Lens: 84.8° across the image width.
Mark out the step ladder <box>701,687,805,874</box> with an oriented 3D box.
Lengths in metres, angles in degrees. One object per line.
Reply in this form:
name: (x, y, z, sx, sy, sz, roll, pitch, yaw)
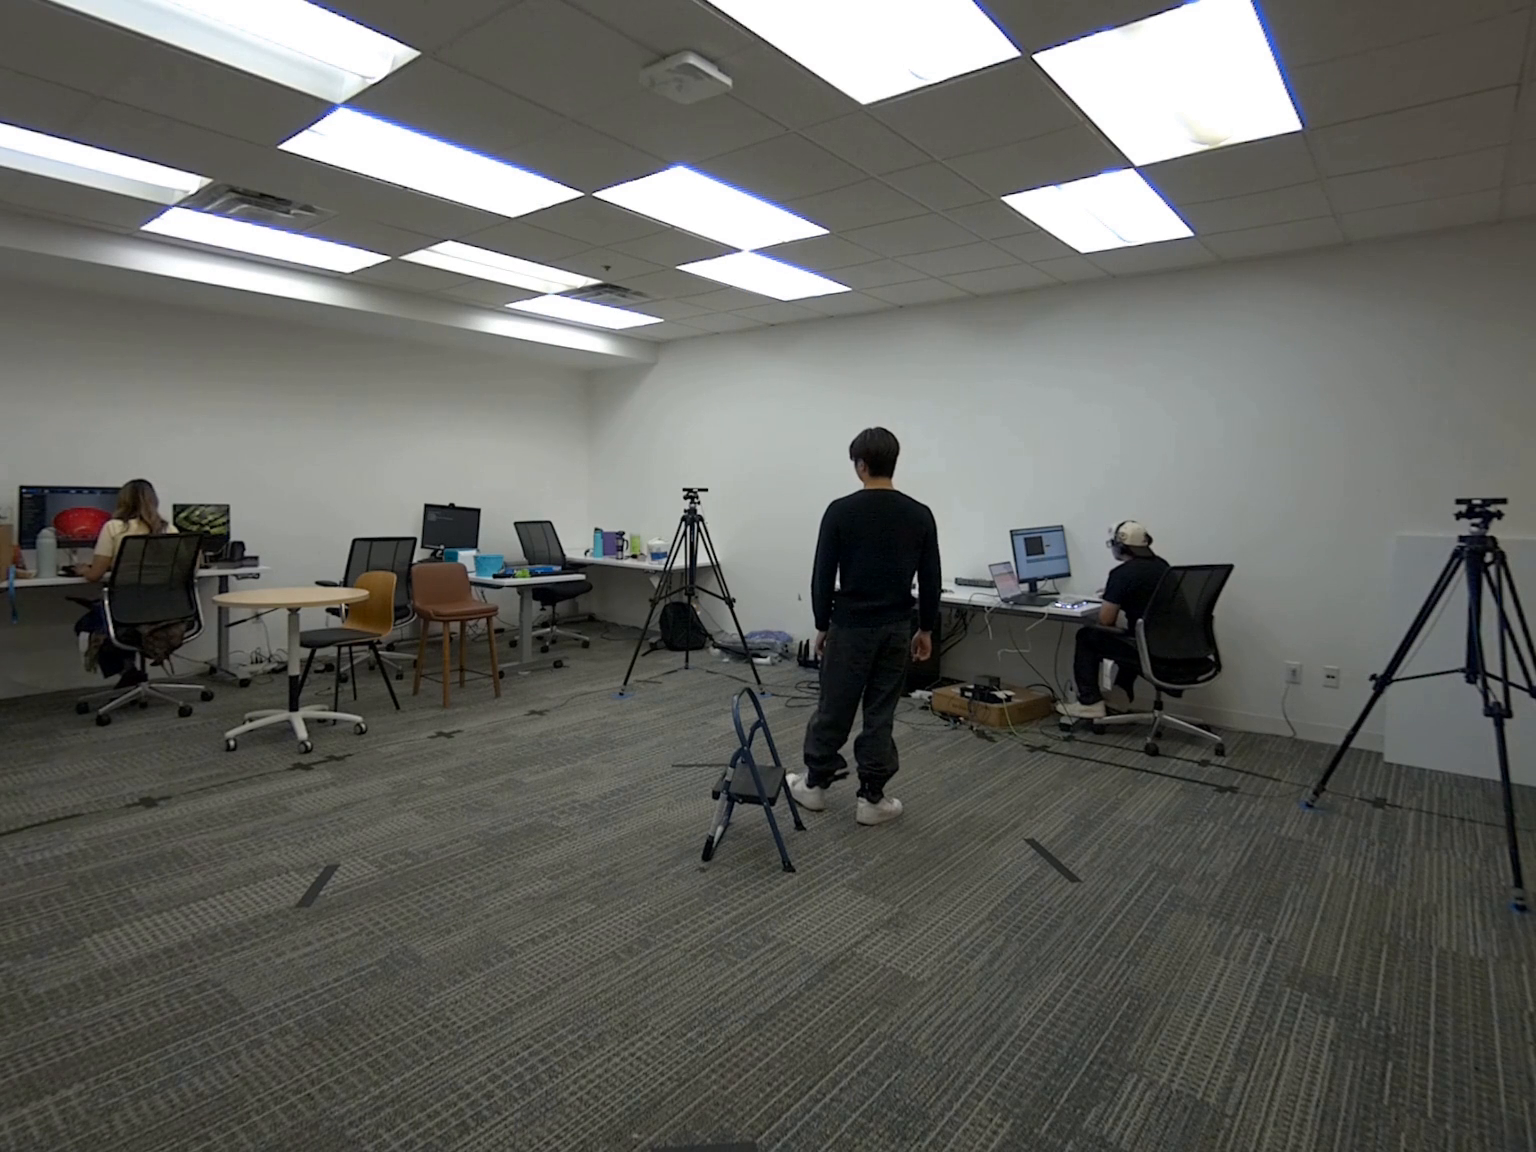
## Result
step ladder: (-0.048, 0.750, 3.323, 0.353, 0.604, 0.427, 3, 4, 10)
